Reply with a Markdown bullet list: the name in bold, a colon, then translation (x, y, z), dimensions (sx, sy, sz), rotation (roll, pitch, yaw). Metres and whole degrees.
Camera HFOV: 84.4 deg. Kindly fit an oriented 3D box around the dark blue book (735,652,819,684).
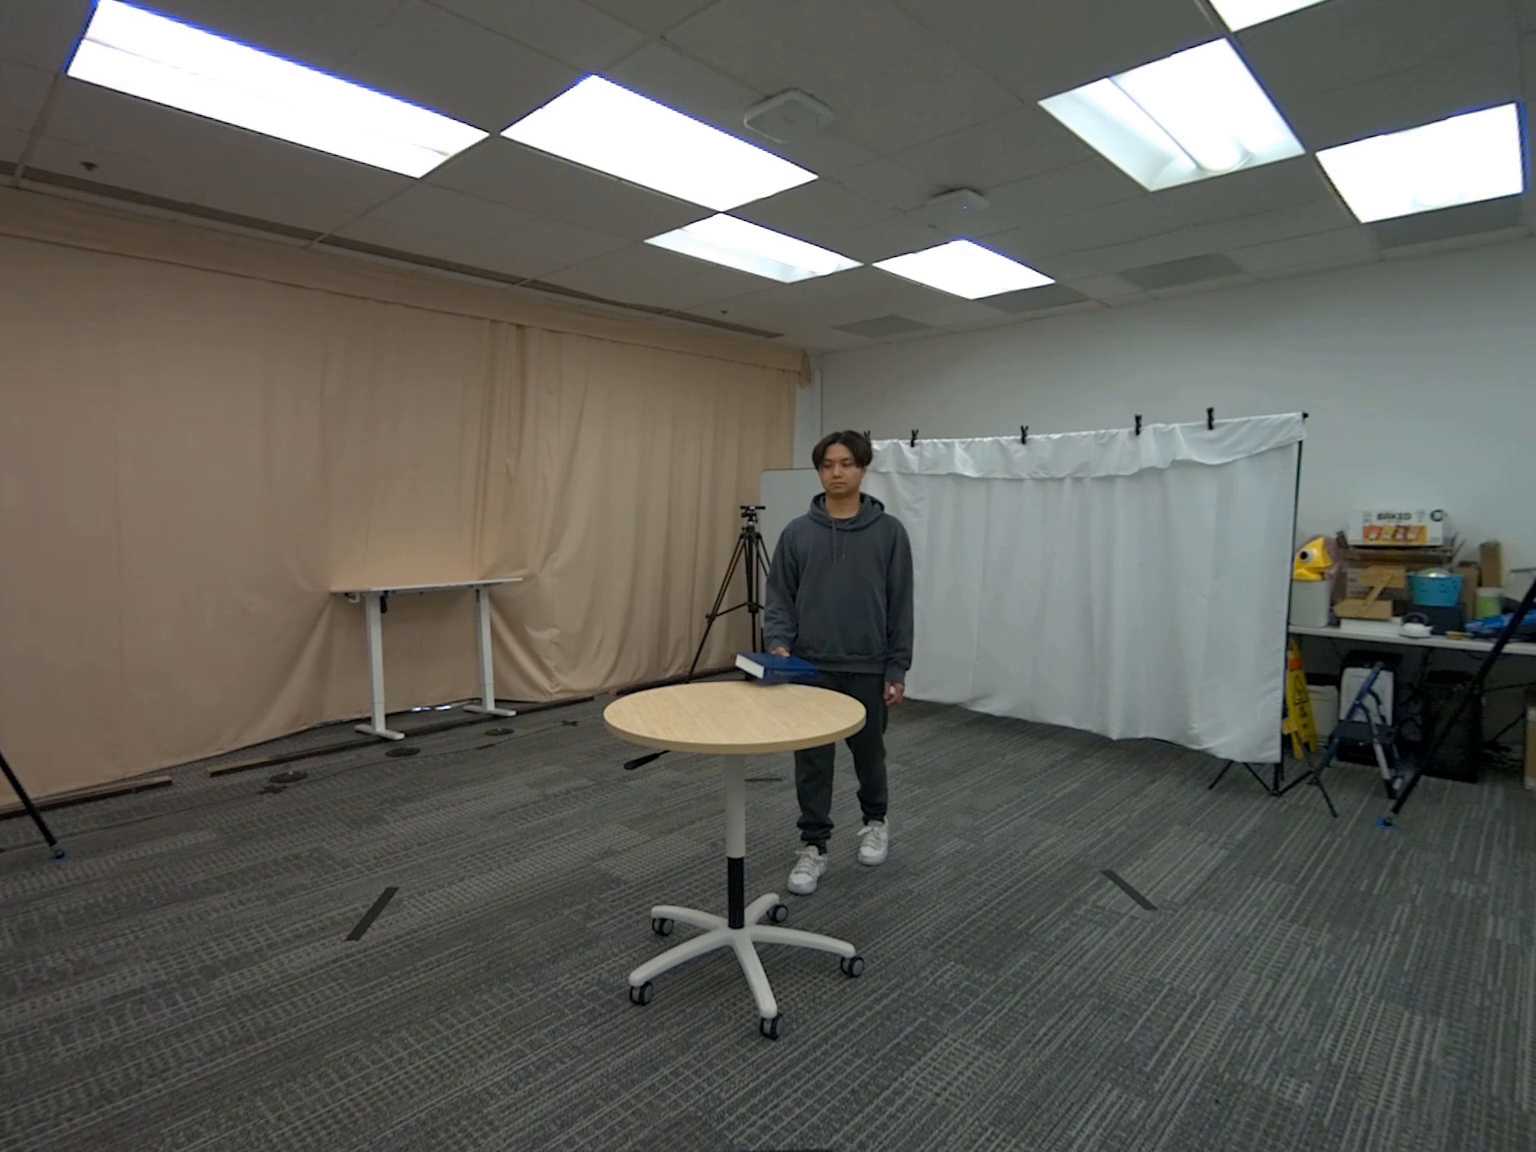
- **dark blue book**: translation (0.039, 0.307, 2.874), dimensions (0.237, 0.045, 0.169), rotation (5, 8, -36)
